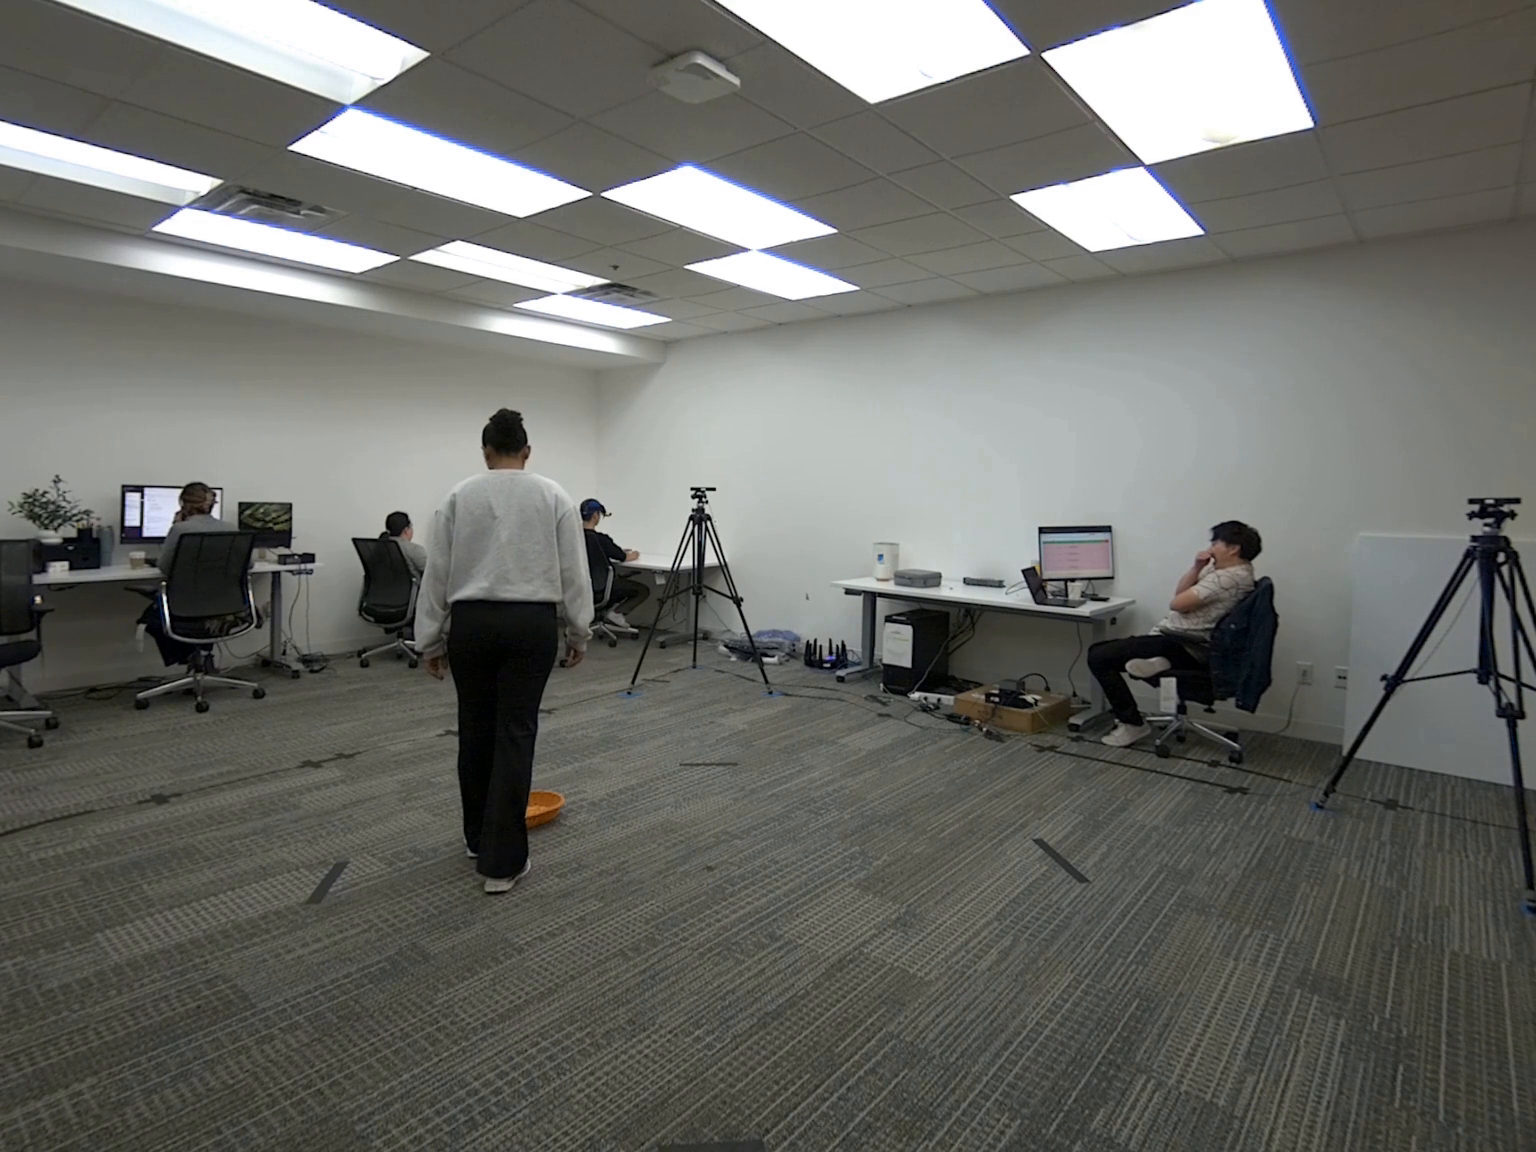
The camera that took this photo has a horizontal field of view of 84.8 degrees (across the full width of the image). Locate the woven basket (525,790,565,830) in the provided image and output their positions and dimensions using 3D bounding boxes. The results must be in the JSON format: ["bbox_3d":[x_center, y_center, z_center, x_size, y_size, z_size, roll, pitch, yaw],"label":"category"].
[{"bbox_3d":[-1.021,0.976,3.521,0.261,0.073,0.340,7,8,43],"label":"woven basket"}]
